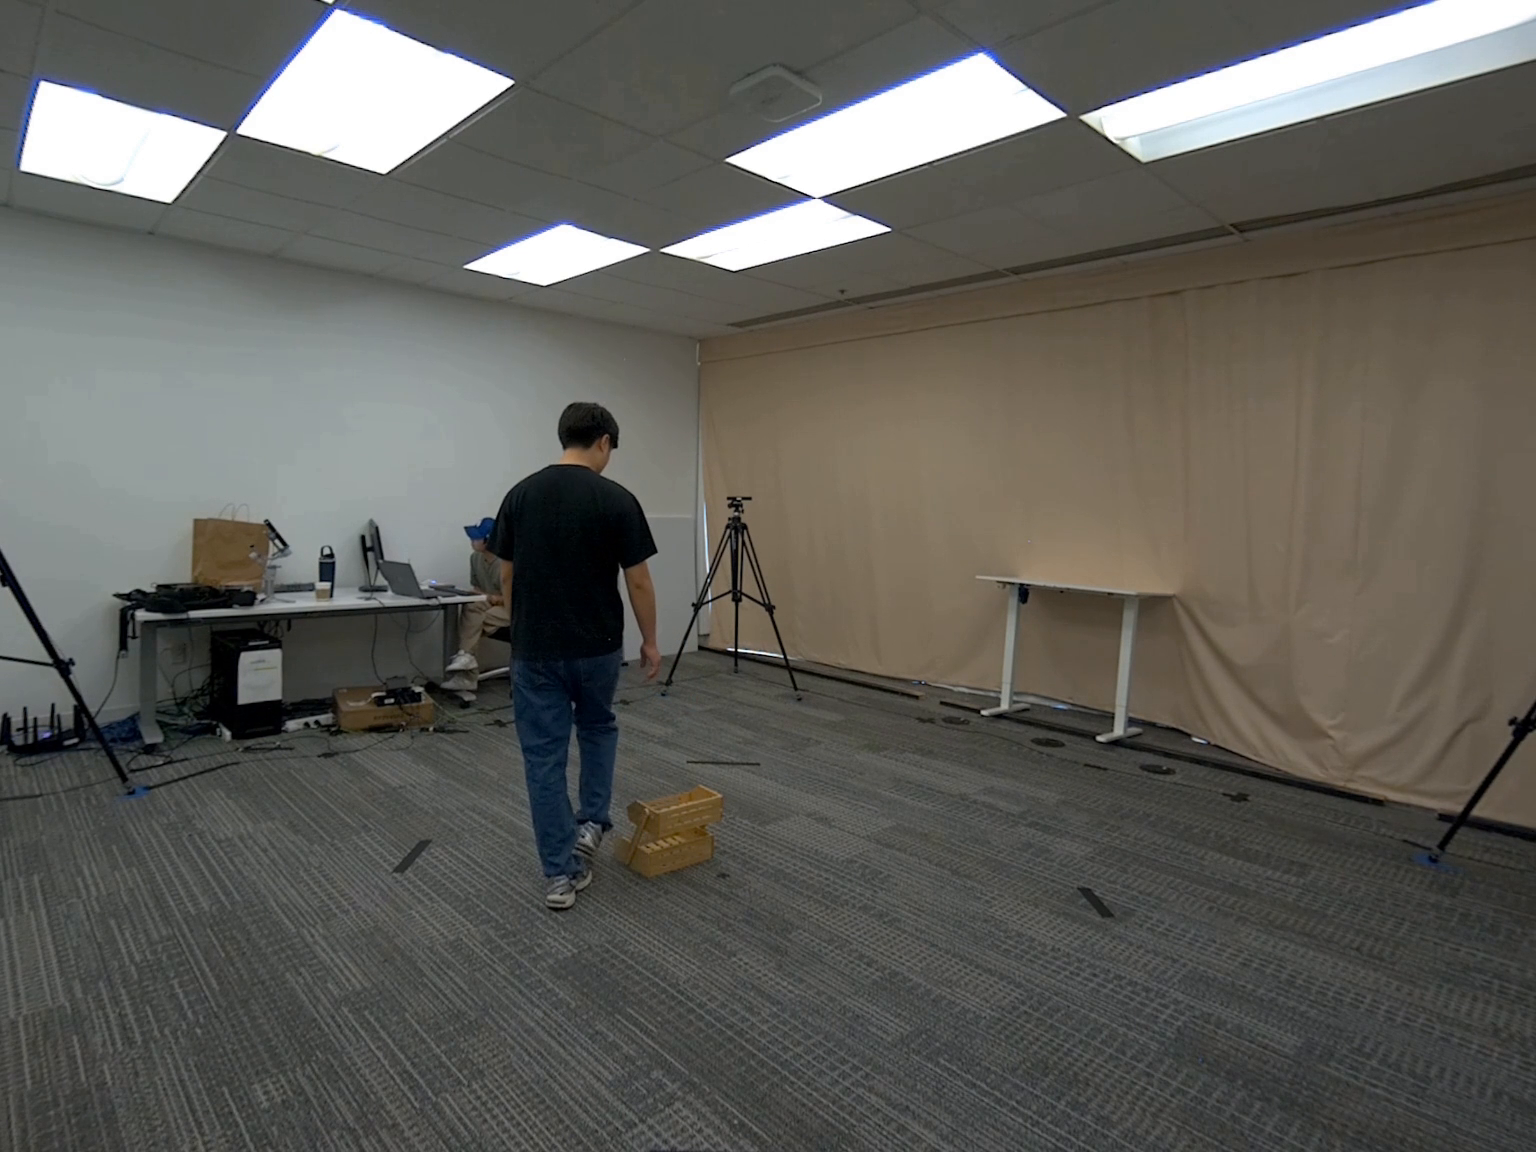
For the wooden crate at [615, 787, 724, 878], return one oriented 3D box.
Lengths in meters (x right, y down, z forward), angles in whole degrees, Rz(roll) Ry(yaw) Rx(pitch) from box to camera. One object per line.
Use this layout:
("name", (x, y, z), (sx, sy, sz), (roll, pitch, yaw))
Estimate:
("wooden crate", (-0.395, 0.957, 3.231), (0.317, 0.272, 0.310), (-2, 6, -40))
